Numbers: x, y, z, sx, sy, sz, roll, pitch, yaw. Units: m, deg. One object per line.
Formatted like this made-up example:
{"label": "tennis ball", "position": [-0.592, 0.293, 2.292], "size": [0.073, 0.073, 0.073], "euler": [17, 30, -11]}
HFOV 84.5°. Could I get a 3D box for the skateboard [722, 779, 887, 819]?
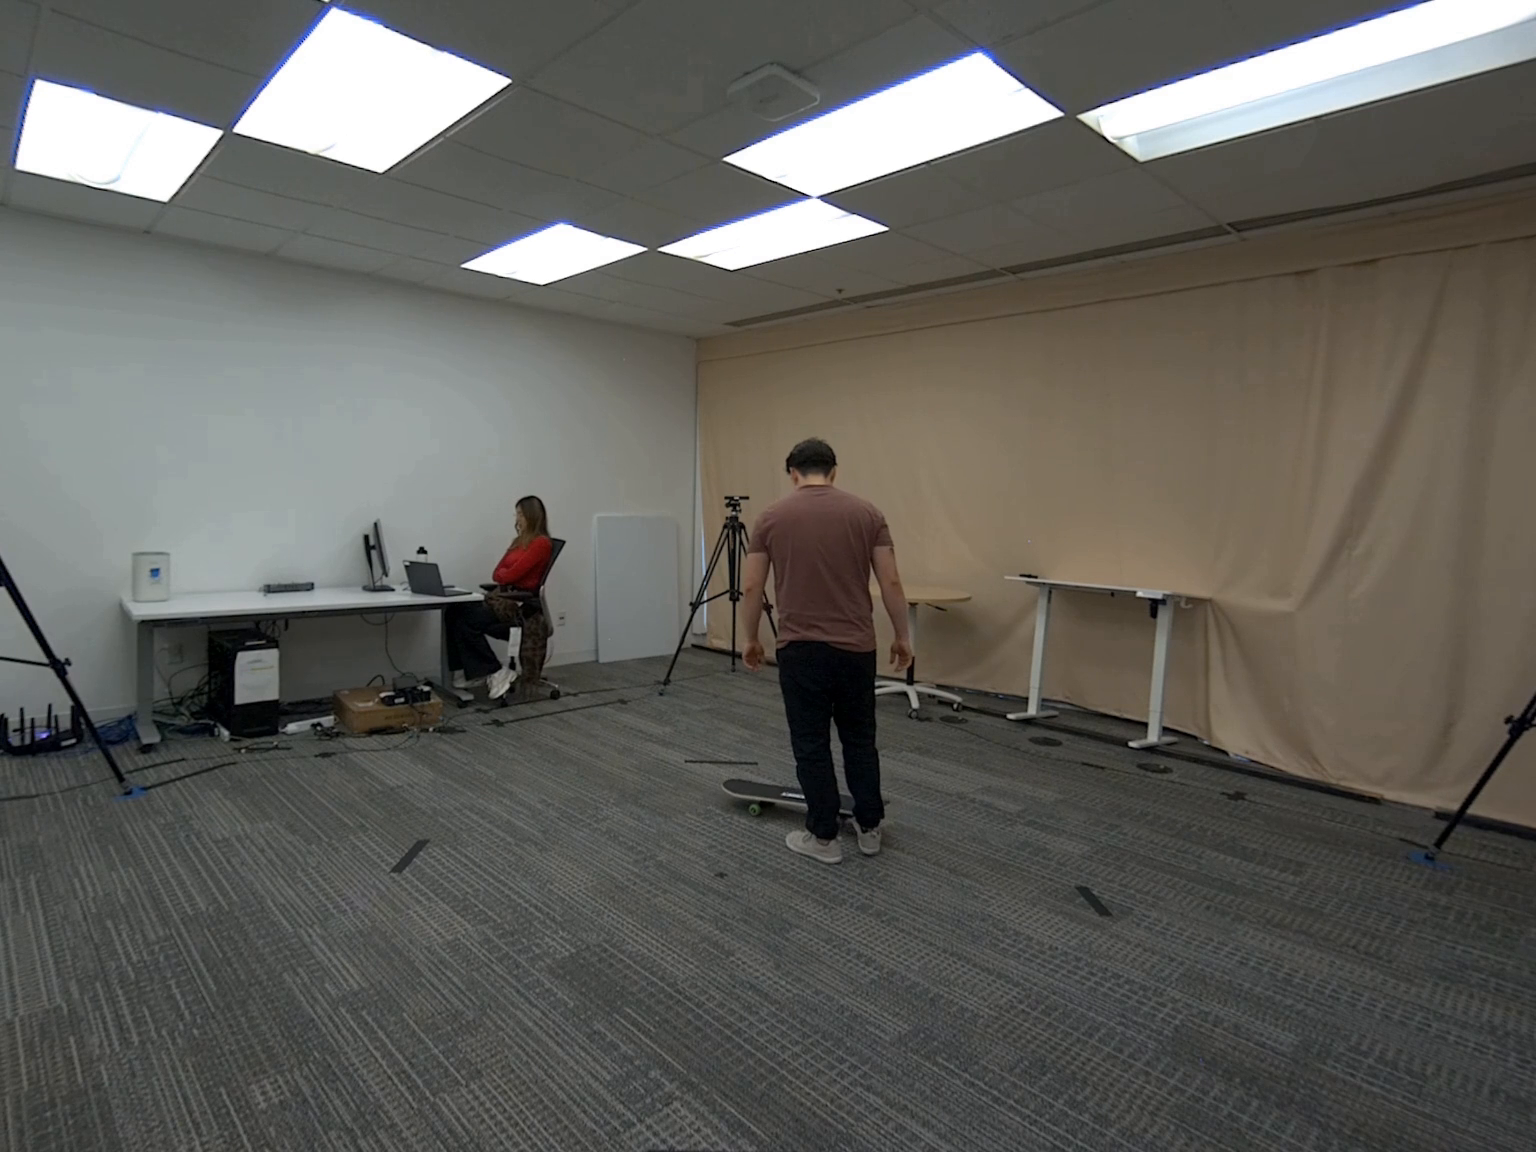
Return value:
{"label": "skateboard", "position": [0.146, 0.998, 3.676], "size": [0.801, 0.110, 0.190], "euler": [1, 4, 28]}
